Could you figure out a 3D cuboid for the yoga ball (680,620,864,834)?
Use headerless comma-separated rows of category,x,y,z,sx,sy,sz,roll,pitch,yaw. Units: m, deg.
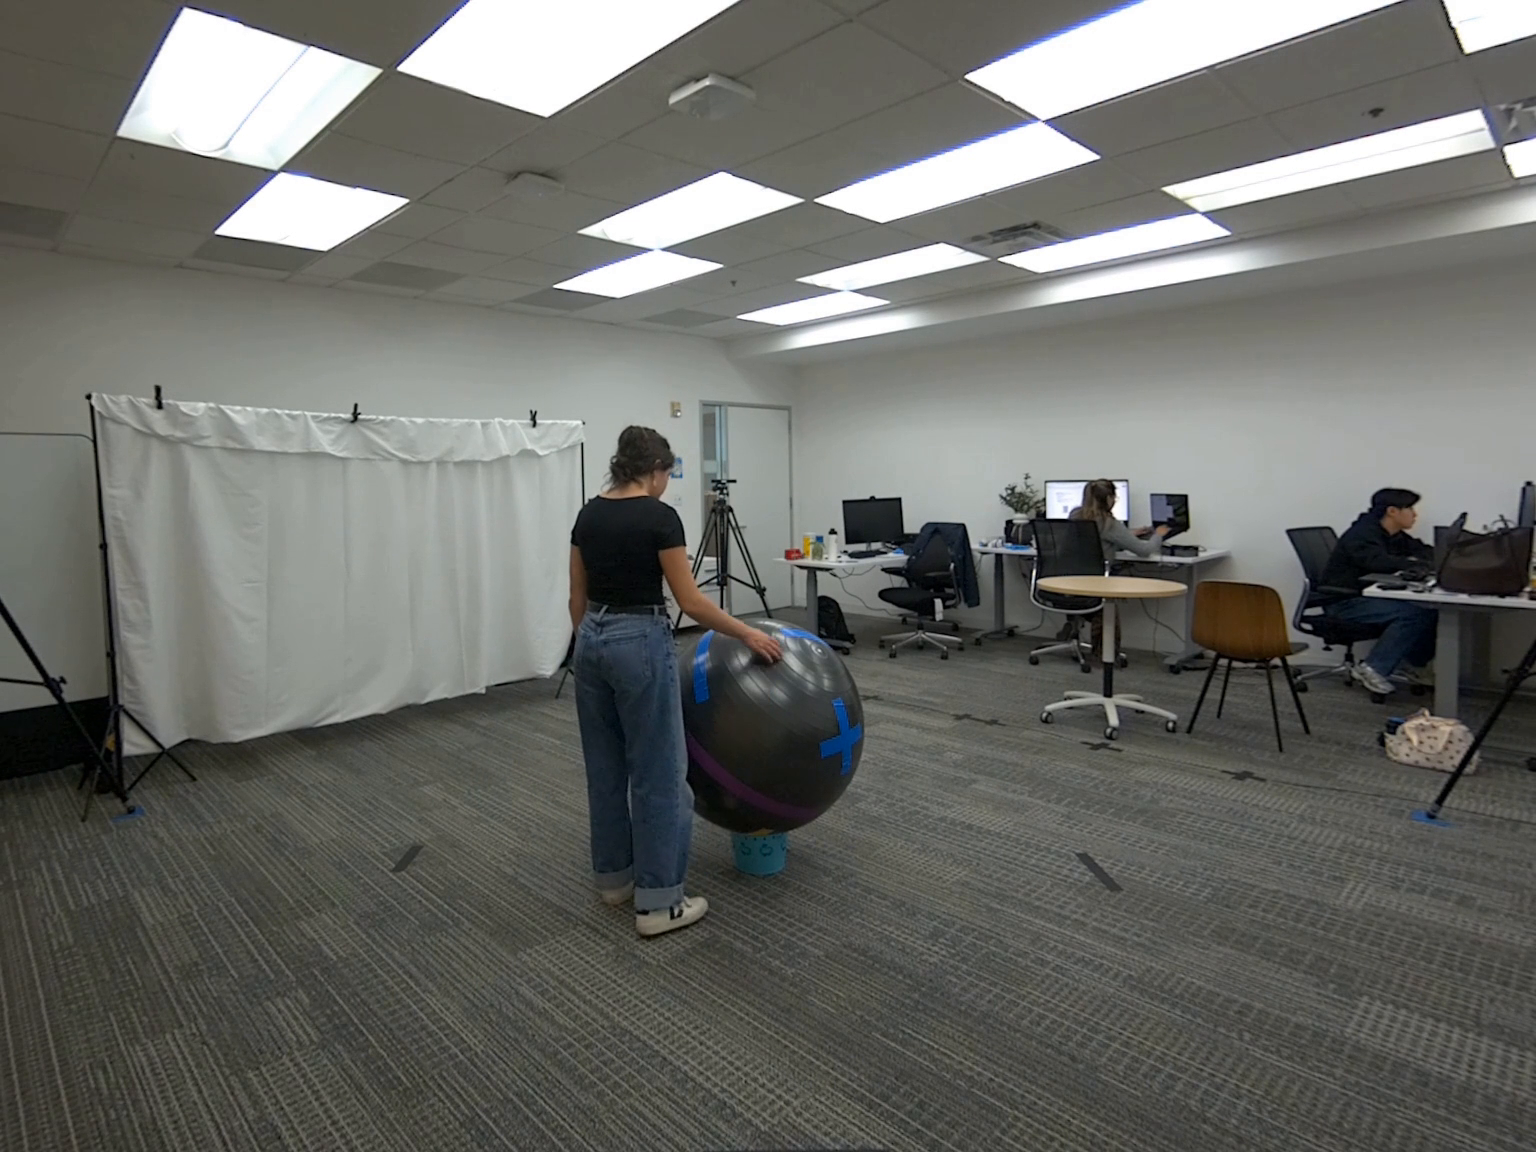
yoga ball,-0.031,0.537,3.085,0.757,0.755,0.762,-1,5,-2
